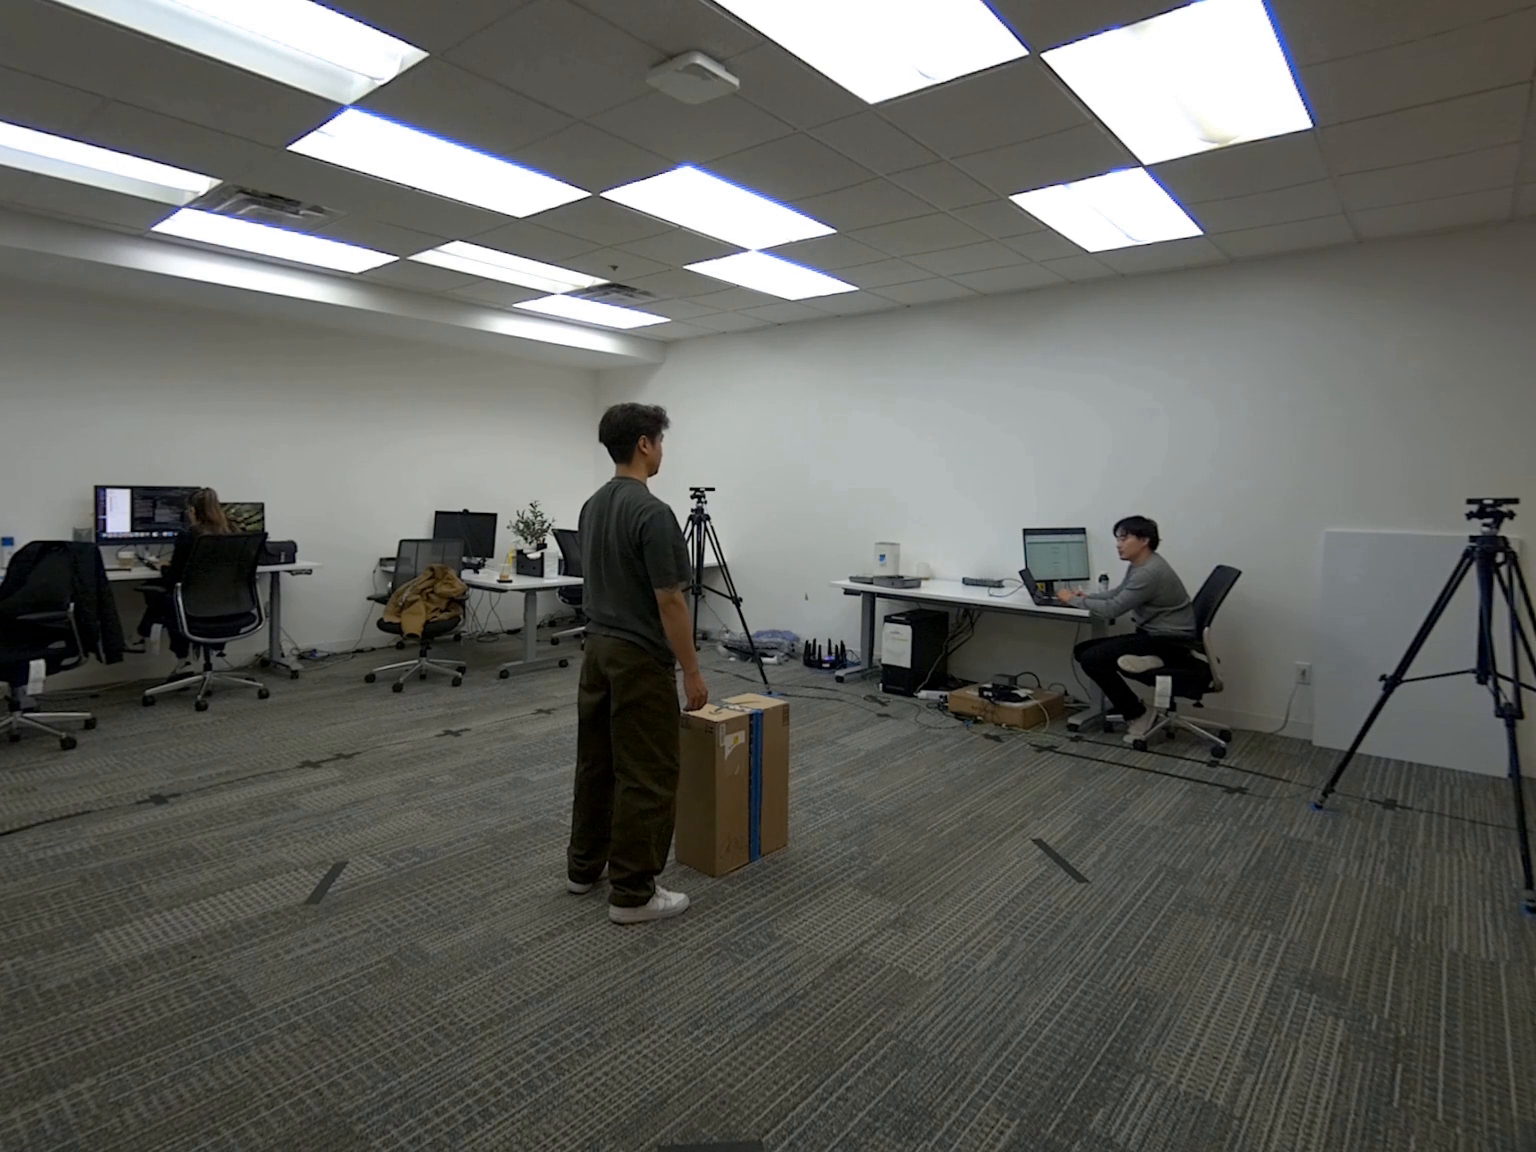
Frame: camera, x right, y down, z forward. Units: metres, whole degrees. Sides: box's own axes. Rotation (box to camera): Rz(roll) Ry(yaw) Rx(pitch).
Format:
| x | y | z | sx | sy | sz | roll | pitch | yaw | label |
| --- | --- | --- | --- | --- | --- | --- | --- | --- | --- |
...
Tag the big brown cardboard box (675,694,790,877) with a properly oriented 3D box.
| x | y | z | sx | sy | sz | roll | pitch | yaw | label |
| --- | --- | --- | --- | --- | --- | --- | --- | --- | --- |
| -0.139 | 0.768 | 3.236 | 0.241 | 0.586 | 0.405 | 5 | 6 | 41 | big brown cardboard box |
